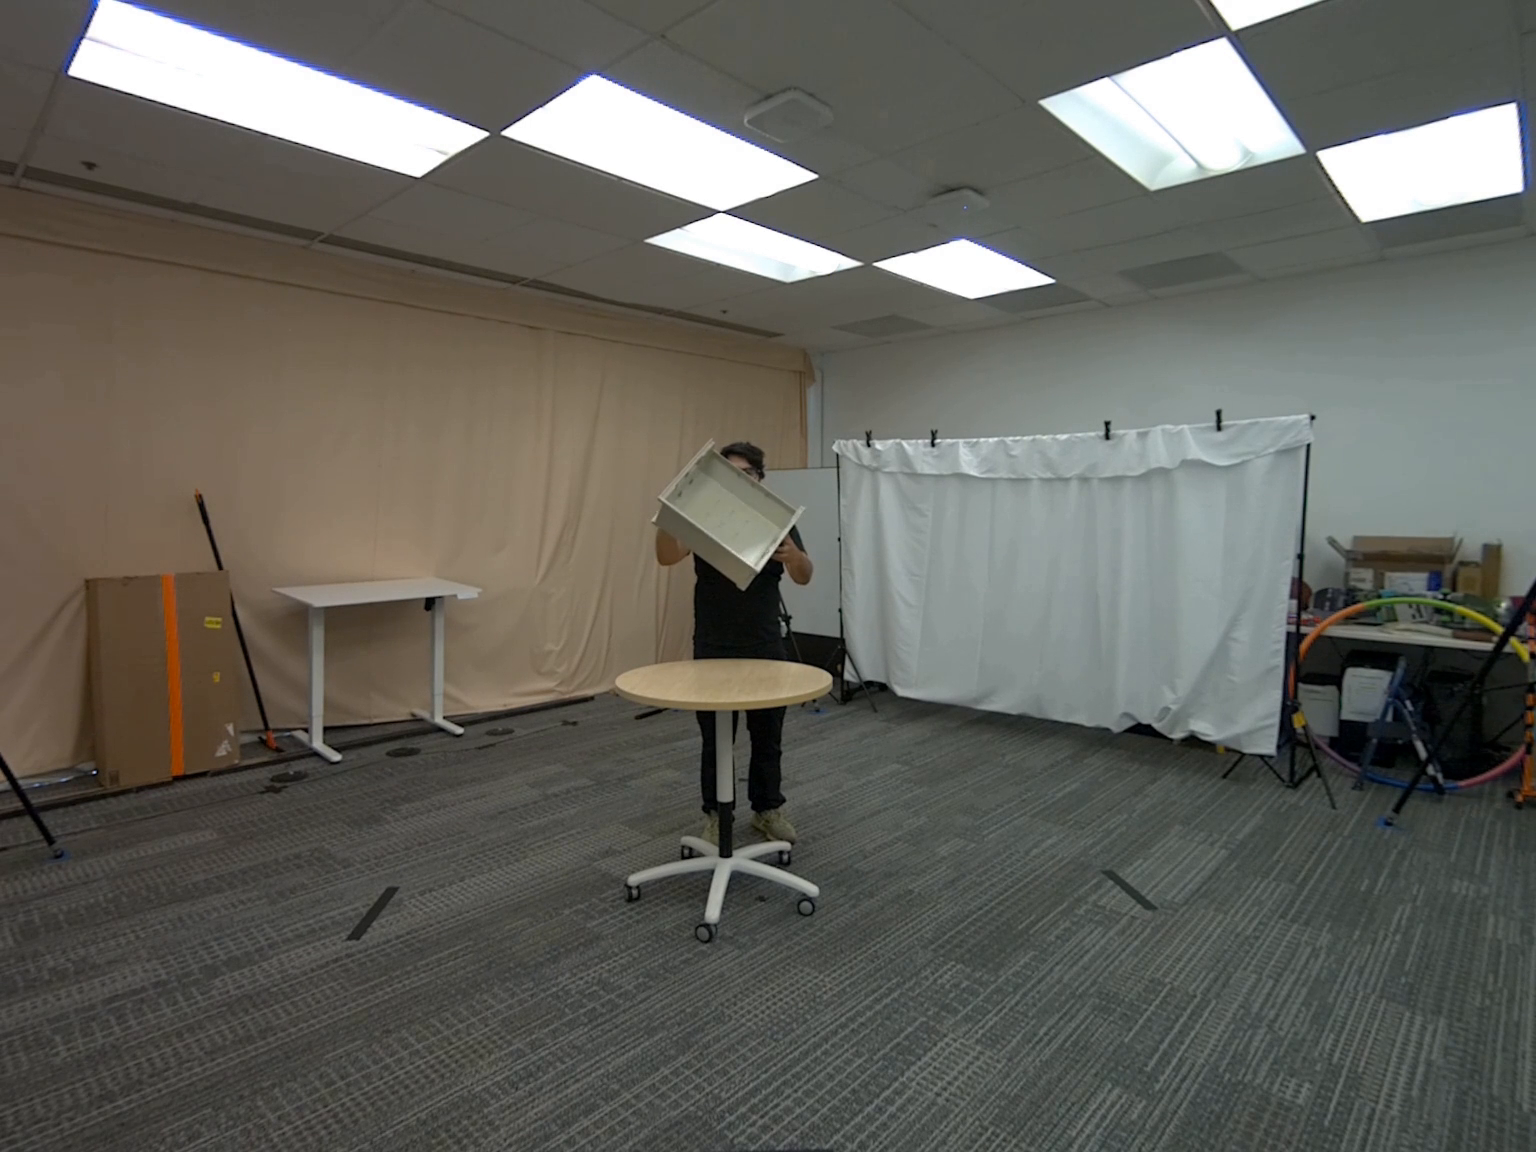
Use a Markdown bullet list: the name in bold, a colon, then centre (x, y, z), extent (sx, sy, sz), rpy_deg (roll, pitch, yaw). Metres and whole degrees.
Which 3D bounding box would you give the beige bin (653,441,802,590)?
- **beige bin**: centre (-0.136, -0.223, 2.990), extent (0.424, 0.376, 0.189), rpy_deg (36, -31, 2)
